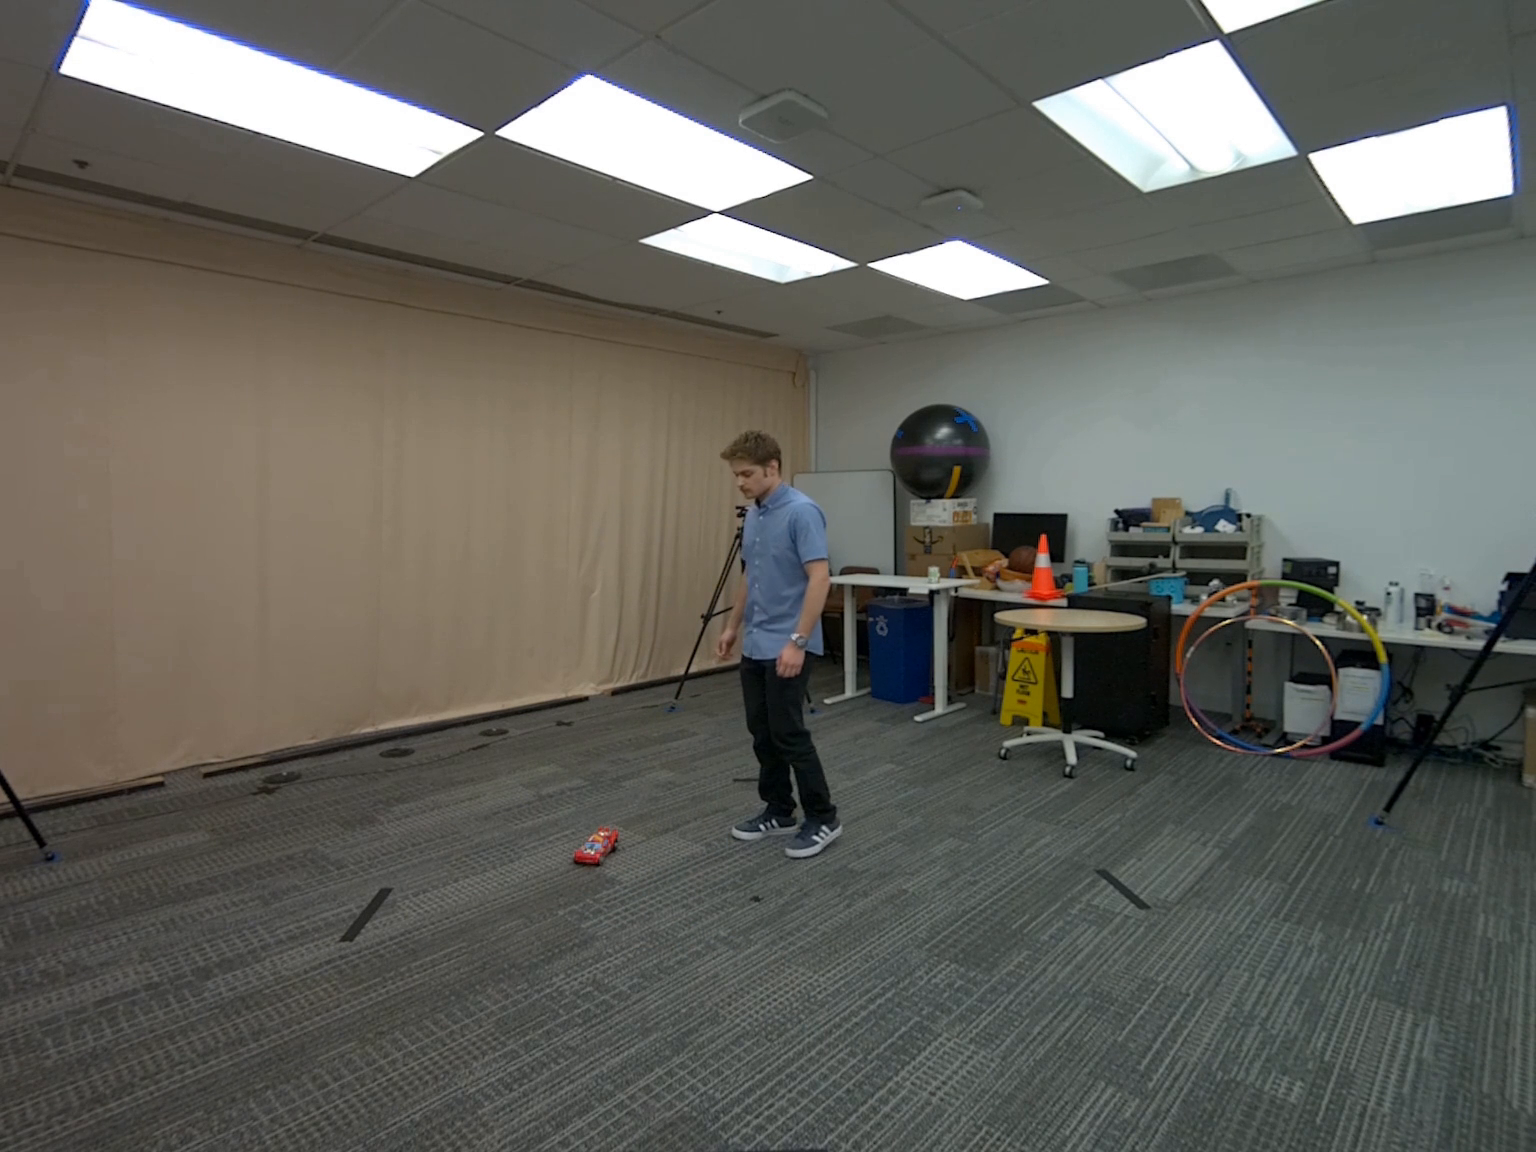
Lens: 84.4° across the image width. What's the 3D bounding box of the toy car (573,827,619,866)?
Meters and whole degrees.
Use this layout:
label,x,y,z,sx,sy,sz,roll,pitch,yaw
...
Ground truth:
label,x,y,z,sx,sy,sz,roll,pitch,yaw
toy car,-0.685,1.088,3.378,0.132,0.082,0.253,0,15,12
